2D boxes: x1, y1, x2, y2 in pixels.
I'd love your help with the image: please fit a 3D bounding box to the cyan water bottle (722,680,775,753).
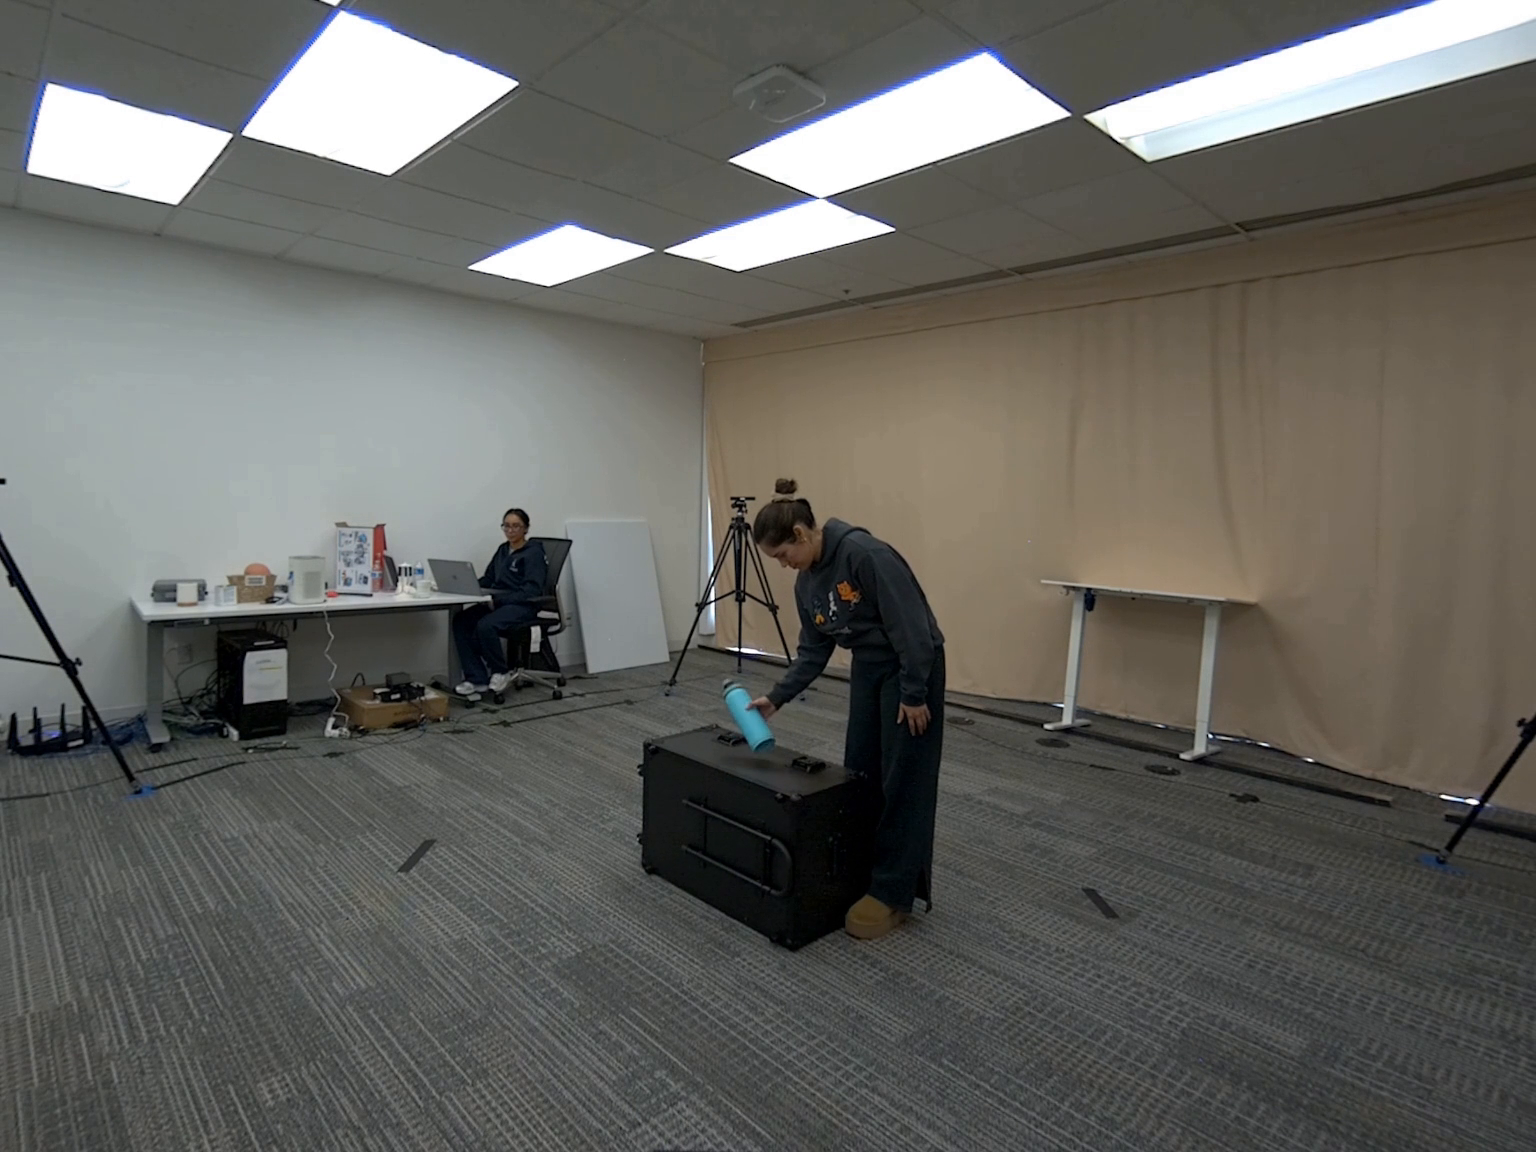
[{"bbox_3d":[-0.079,0.496,3.009,0.090,0.091,0.292,-2,45,-39],"label":"cyan water bottle"}]
